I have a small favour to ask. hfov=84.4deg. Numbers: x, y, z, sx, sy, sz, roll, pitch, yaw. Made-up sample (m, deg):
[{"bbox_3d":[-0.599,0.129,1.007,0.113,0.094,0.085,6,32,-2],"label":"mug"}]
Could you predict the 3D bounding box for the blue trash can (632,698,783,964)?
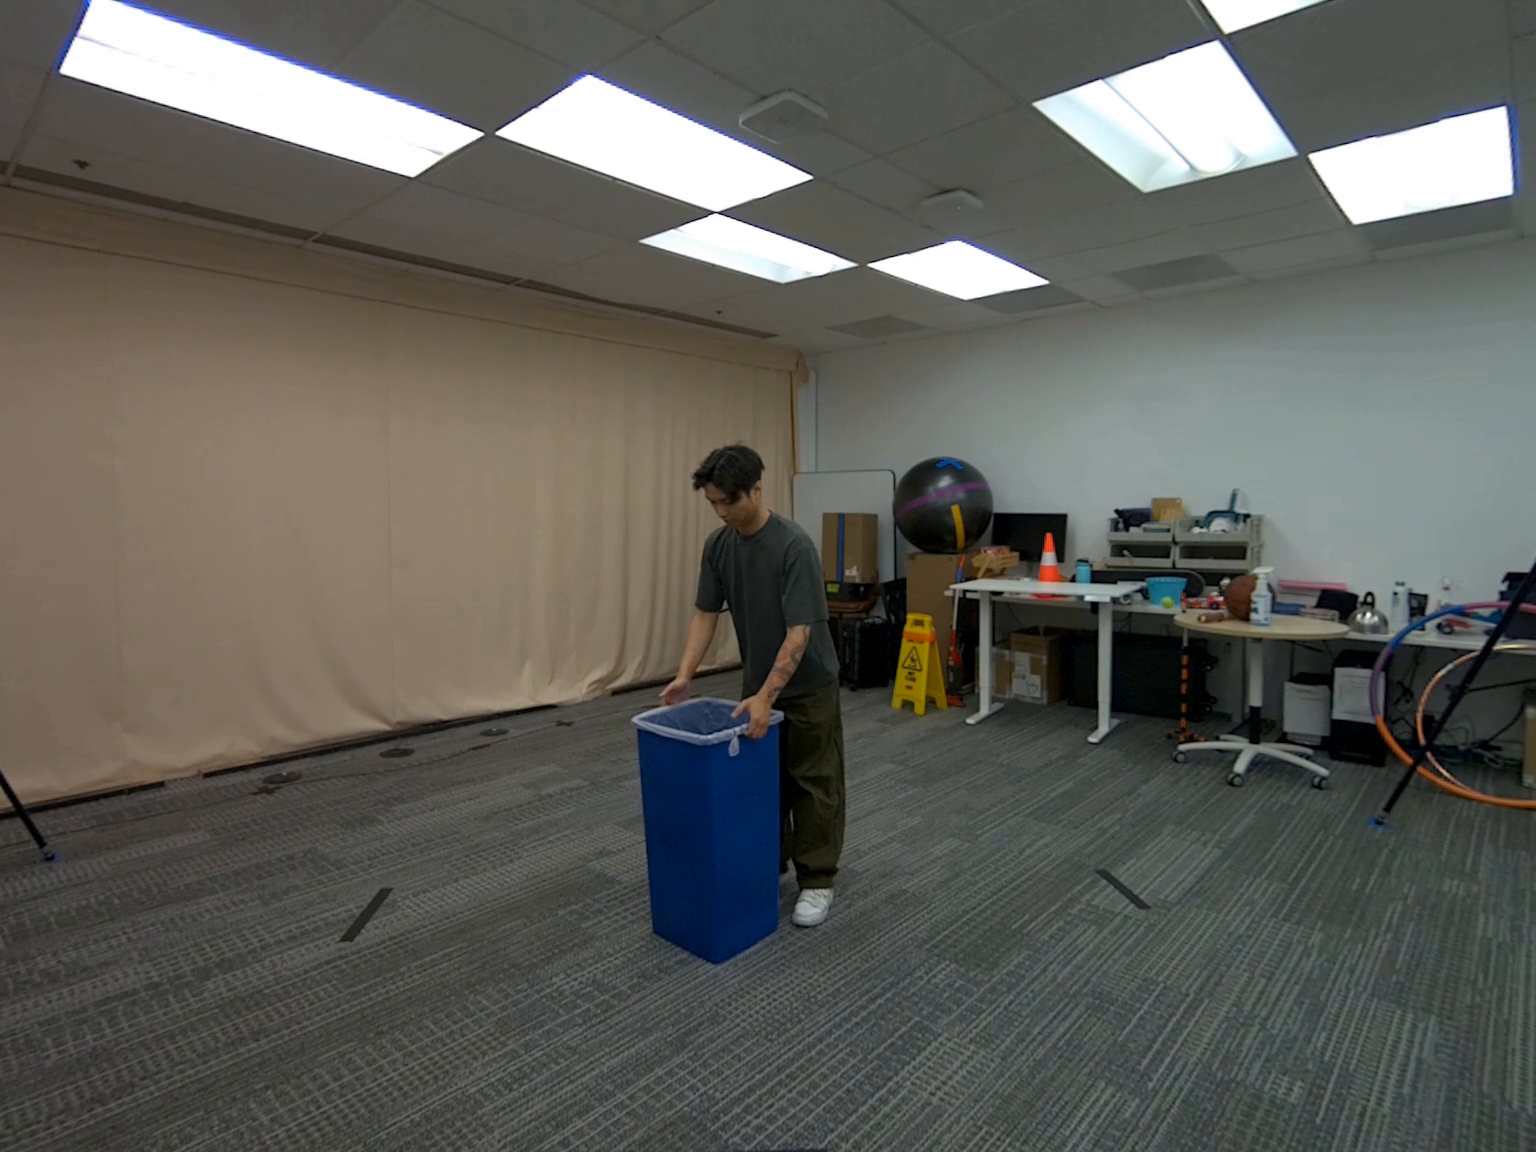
[{"bbox_3d":[-0.185,0.807,2.727,0.390,0.712,0.363,1,4,42],"label":"blue trash can"}]
